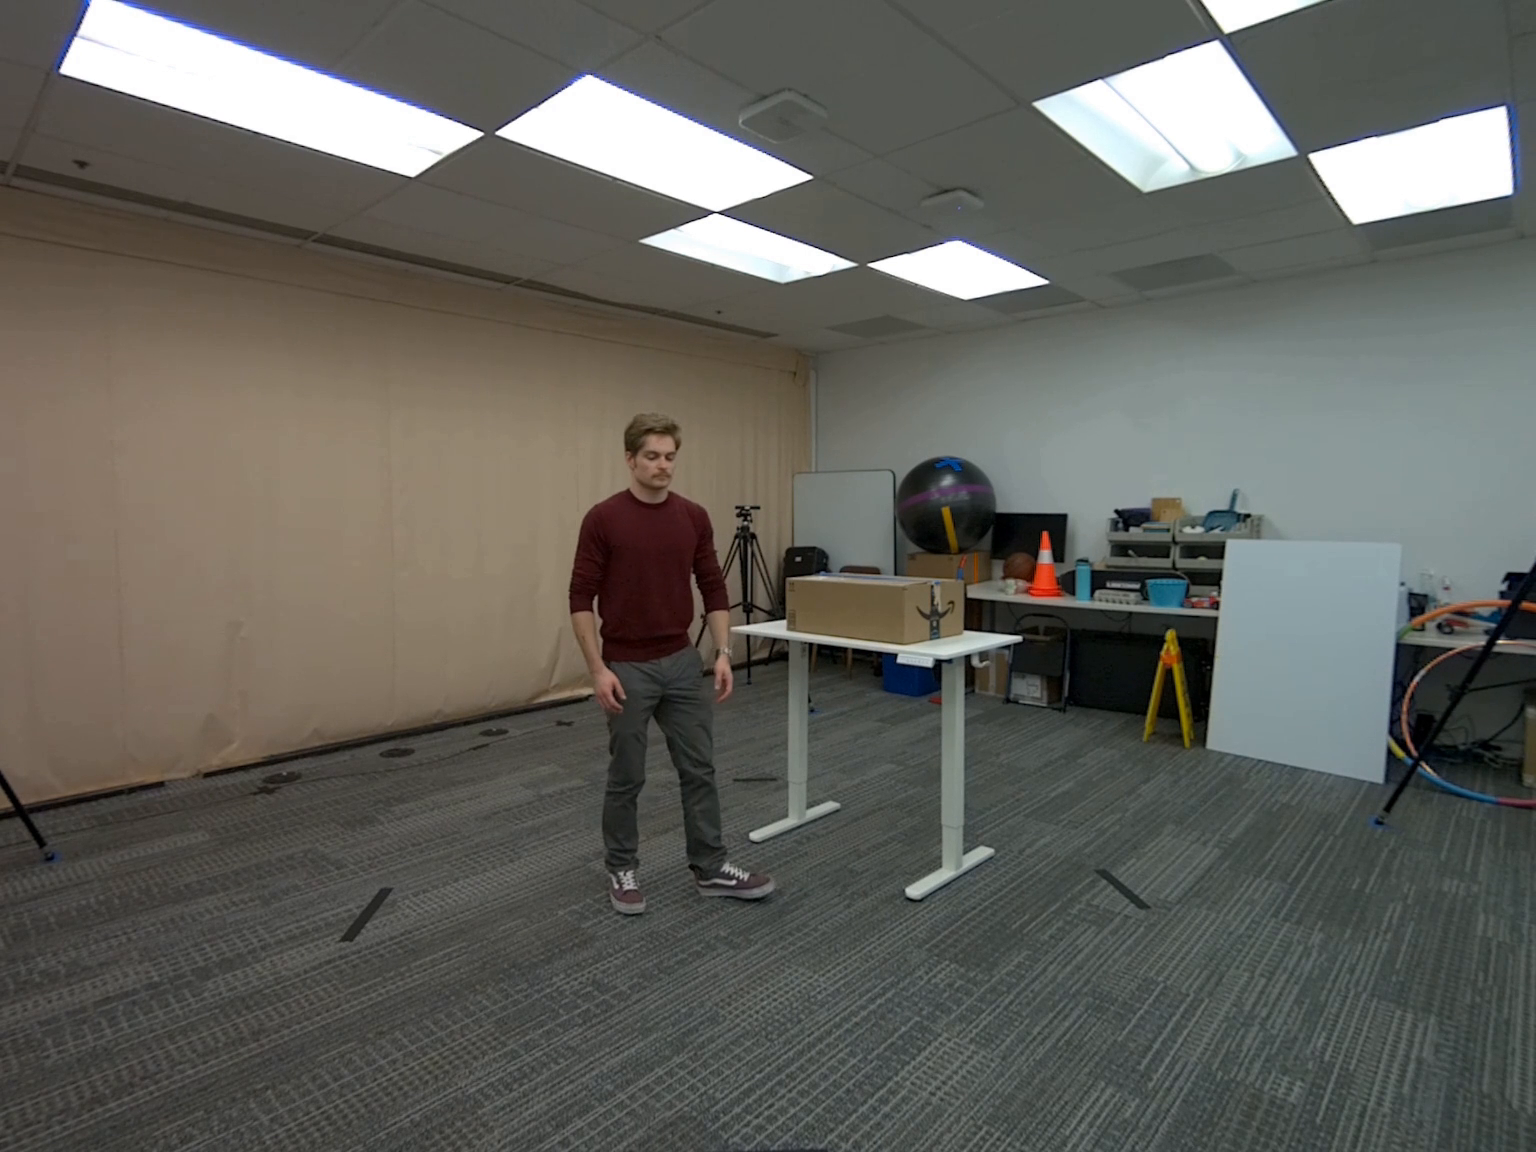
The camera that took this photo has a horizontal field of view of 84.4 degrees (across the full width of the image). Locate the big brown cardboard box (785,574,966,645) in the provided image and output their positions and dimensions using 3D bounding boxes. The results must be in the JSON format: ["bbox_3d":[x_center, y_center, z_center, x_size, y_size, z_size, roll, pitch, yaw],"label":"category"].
[{"bbox_3d":[0.424,0.119,3.386,0.609,0.232,0.405,4,6,43],"label":"big brown cardboard box"}]
